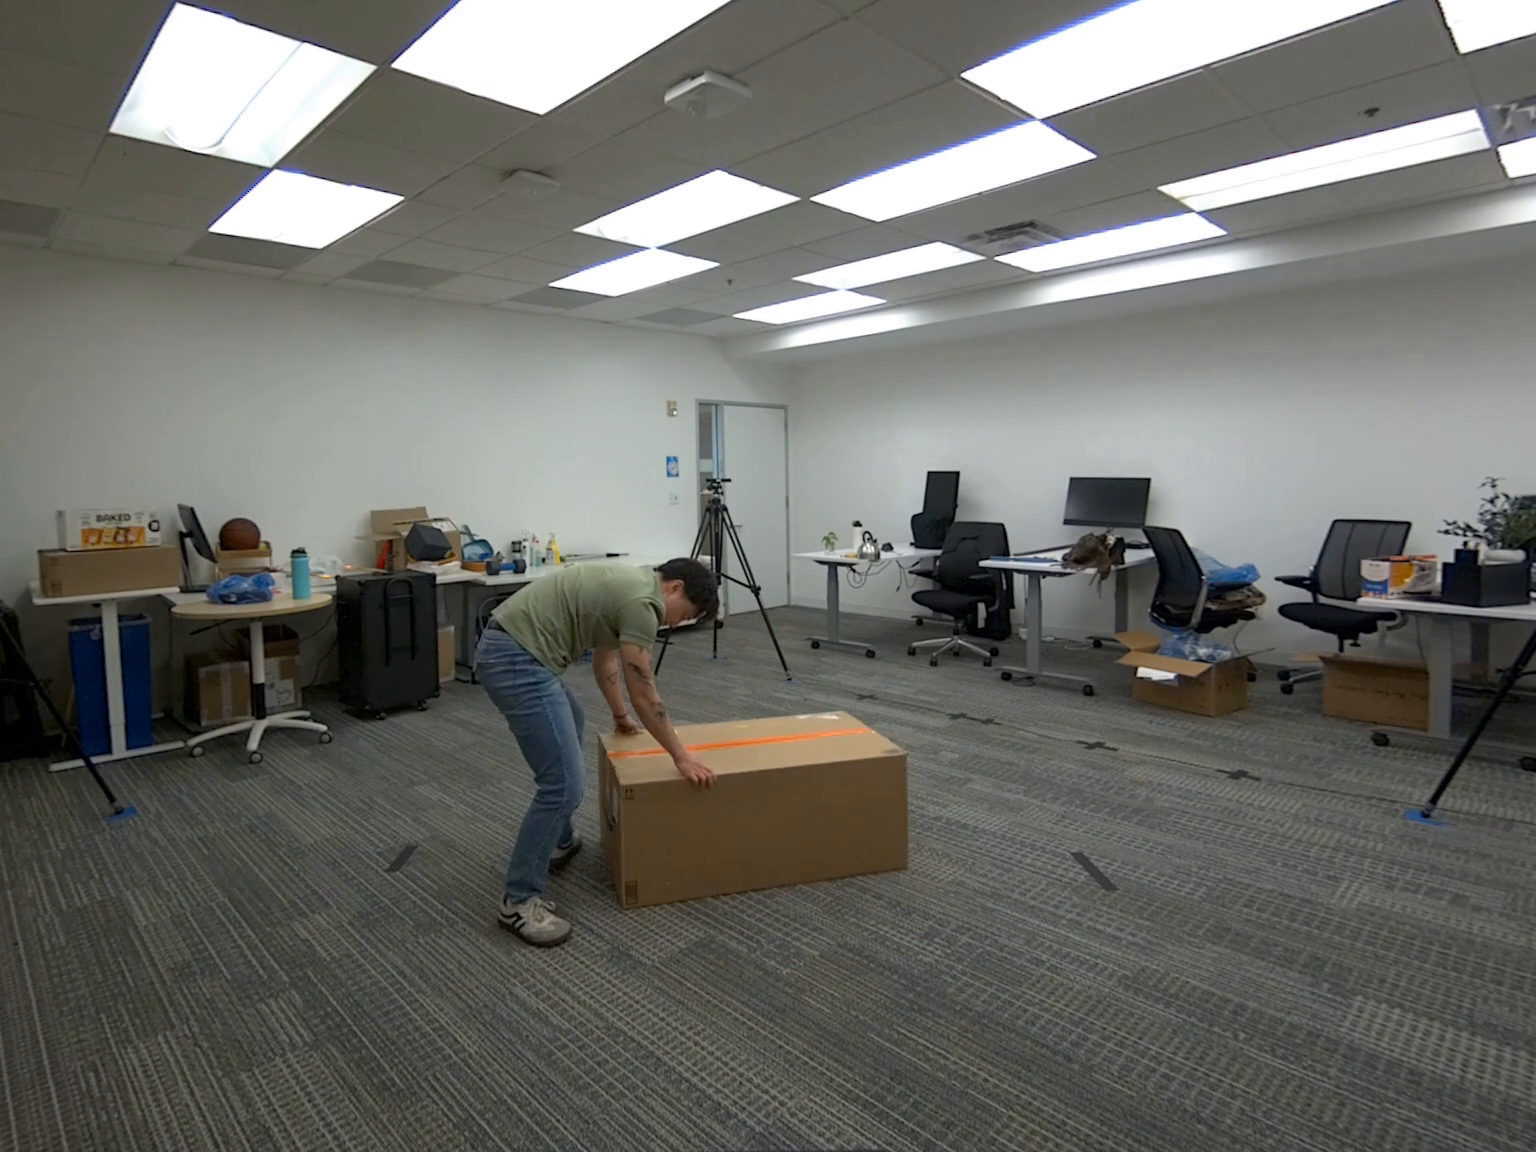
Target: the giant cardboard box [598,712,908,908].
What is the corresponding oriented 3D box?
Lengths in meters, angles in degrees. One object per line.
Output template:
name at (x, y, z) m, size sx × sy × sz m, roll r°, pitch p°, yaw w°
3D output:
giant cardboard box at (-0.077, 0.823, 3.167) m, size 1.011 × 0.424 × 0.588 m, roll -3°, pitch 5°, yaw -16°
